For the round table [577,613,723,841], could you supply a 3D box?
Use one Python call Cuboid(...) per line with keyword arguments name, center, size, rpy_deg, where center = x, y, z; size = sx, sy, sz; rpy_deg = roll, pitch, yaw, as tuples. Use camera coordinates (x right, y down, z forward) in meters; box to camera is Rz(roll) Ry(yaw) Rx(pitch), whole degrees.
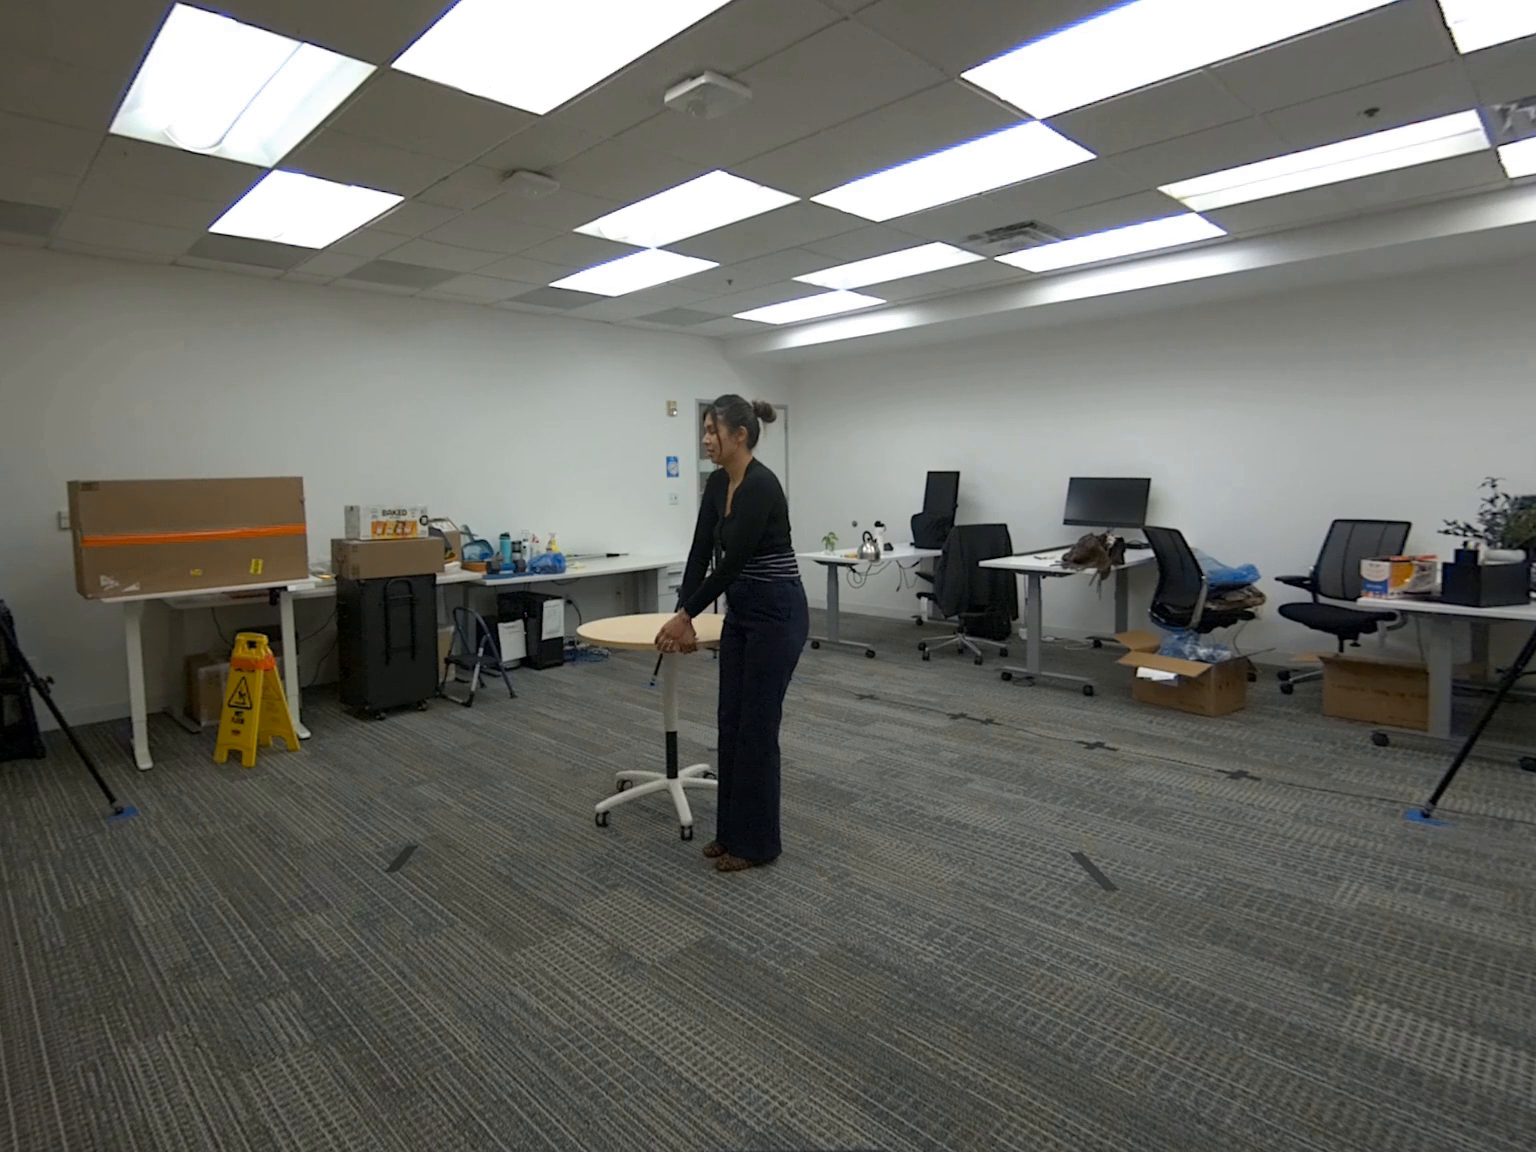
Cuboid(name="round table", center=(-0.409, 0.606, 3.606), size=(0.763, 0.791, 0.767), rpy_deg=(-1, 4, -2))
